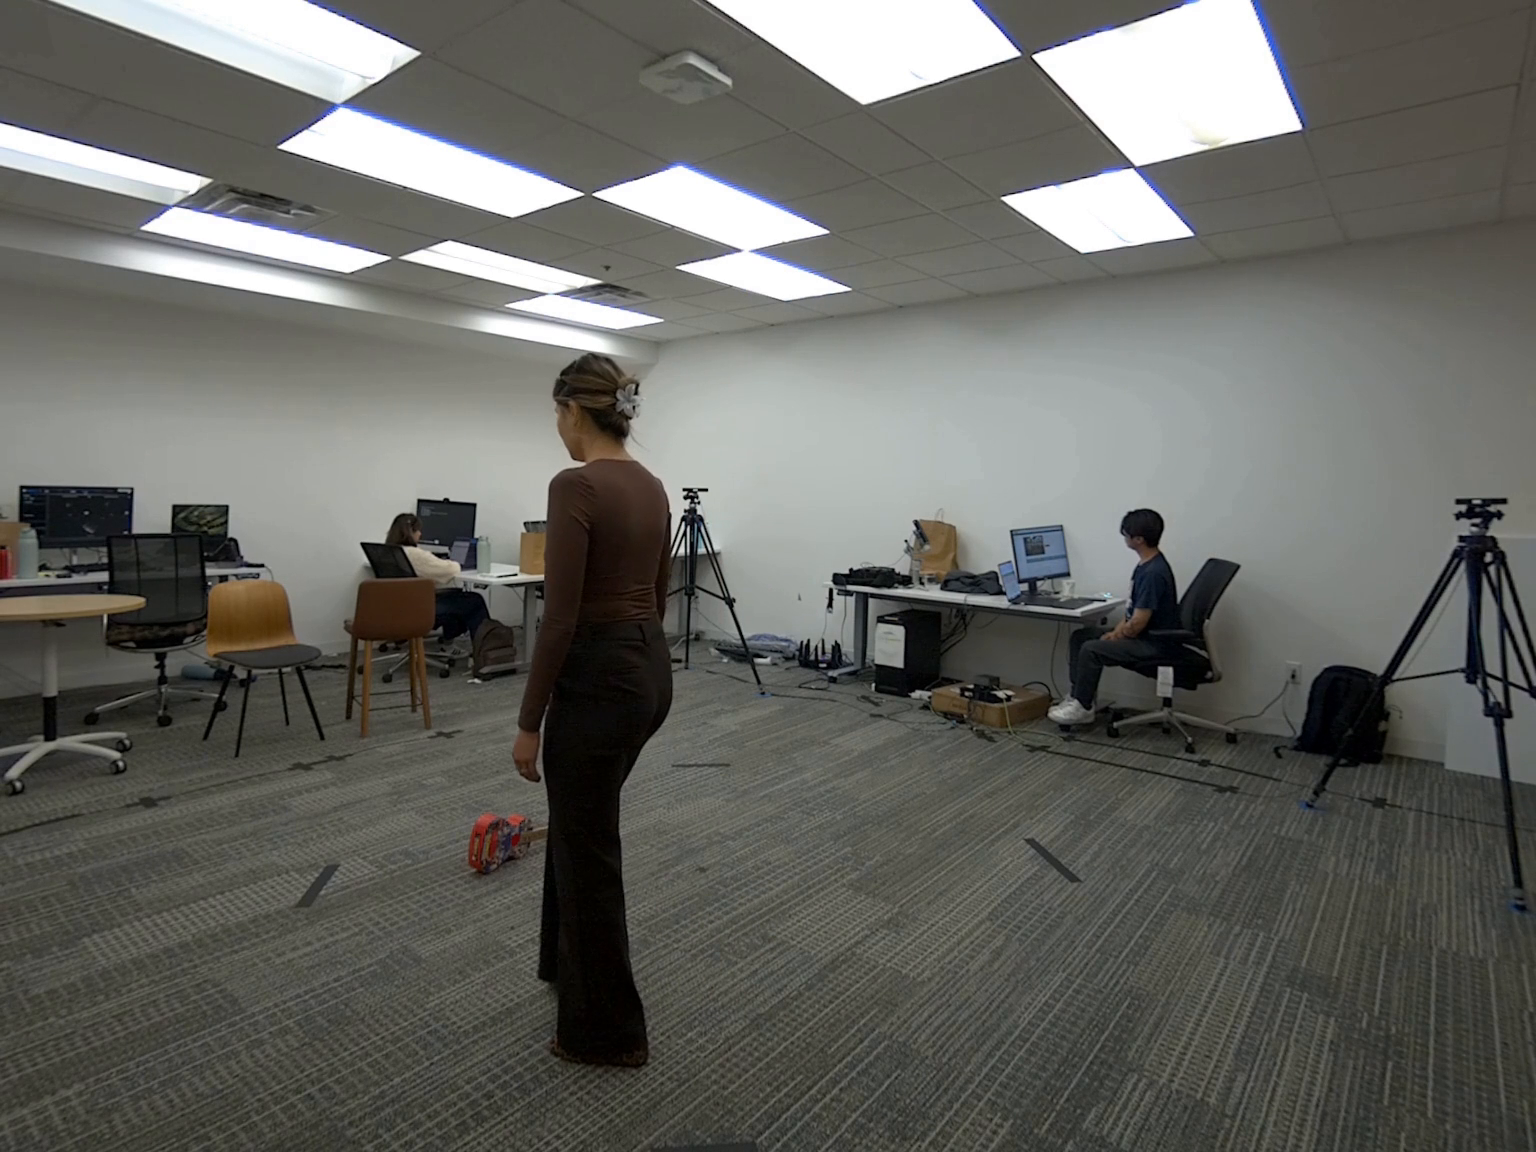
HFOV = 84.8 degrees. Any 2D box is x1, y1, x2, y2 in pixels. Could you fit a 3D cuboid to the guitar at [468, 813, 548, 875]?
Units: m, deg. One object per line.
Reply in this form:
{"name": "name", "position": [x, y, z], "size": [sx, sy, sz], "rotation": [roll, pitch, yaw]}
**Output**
{"name": "guitar", "position": [-0.940, 1.007, 3.214], "size": [0.073, 0.195, 0.479], "rotation": [4, -13, 28]}
